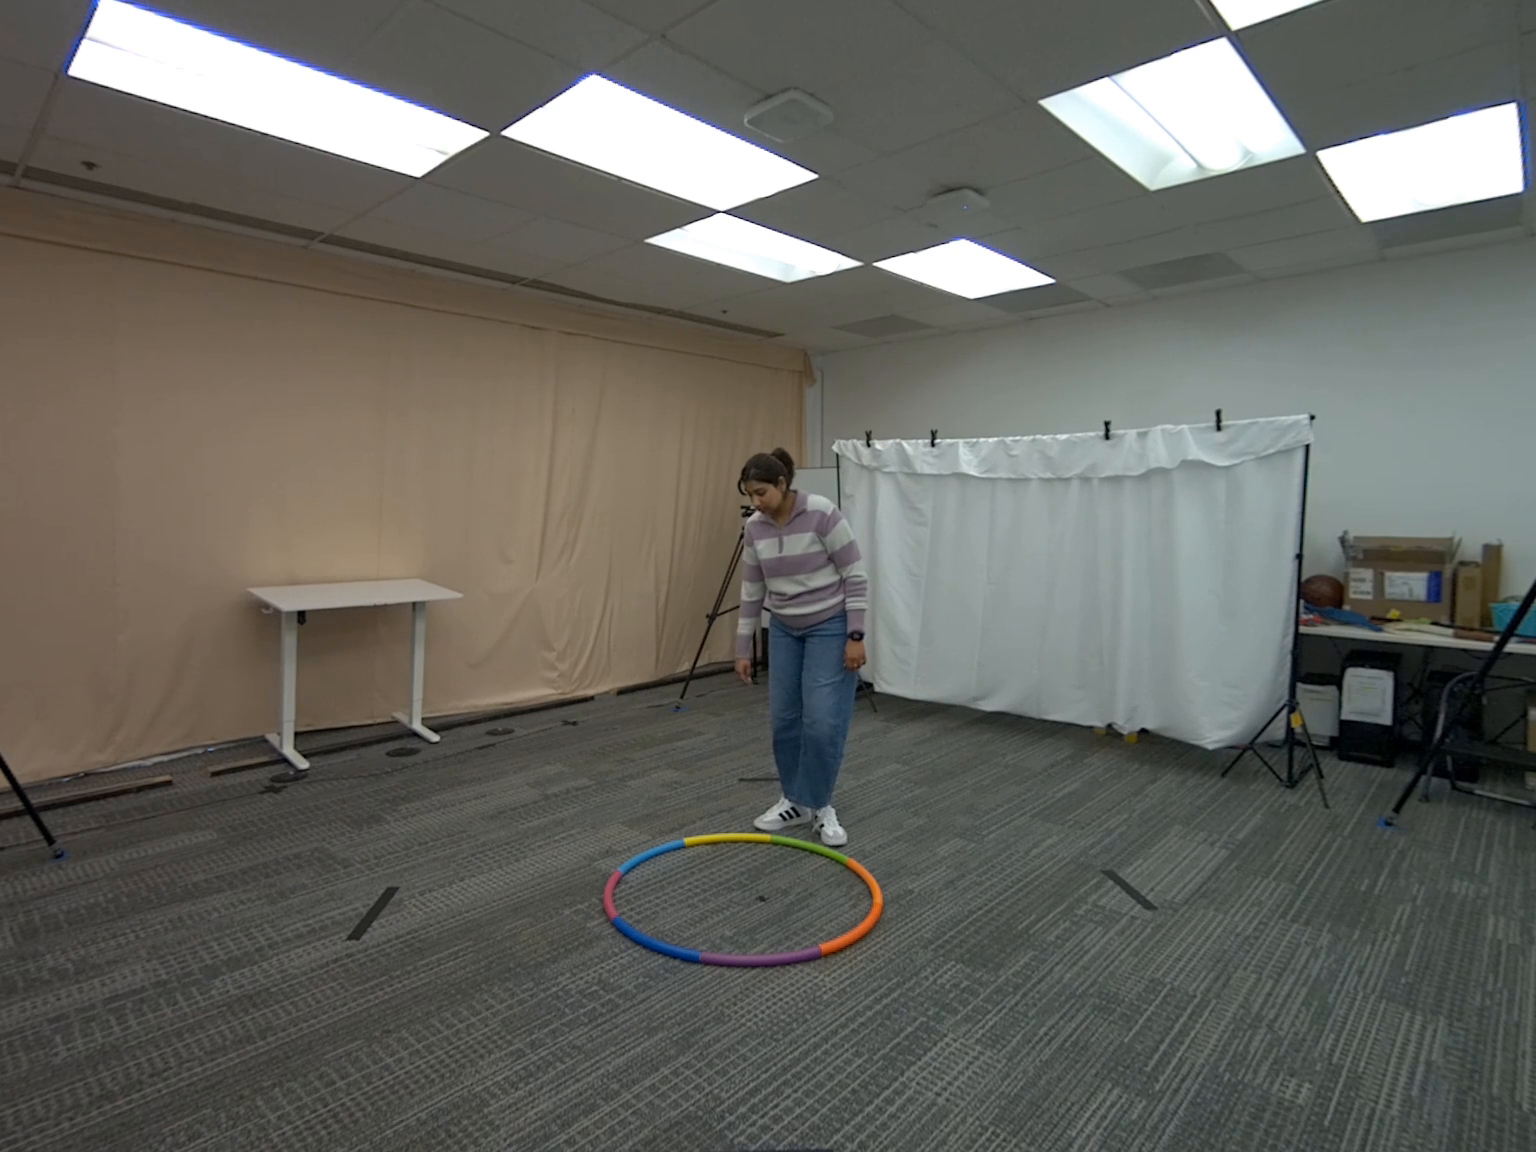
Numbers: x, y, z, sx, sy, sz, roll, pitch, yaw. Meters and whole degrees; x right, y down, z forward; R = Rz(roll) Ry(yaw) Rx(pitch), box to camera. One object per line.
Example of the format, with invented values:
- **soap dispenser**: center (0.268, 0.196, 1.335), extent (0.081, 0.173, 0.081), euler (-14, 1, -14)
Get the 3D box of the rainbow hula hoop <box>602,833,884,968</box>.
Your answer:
- **rainbow hula hoop**: center (-0.093, 1.108, 3.021), extent (0.978, 0.035, 0.982), euler (-1, 5, -2)
